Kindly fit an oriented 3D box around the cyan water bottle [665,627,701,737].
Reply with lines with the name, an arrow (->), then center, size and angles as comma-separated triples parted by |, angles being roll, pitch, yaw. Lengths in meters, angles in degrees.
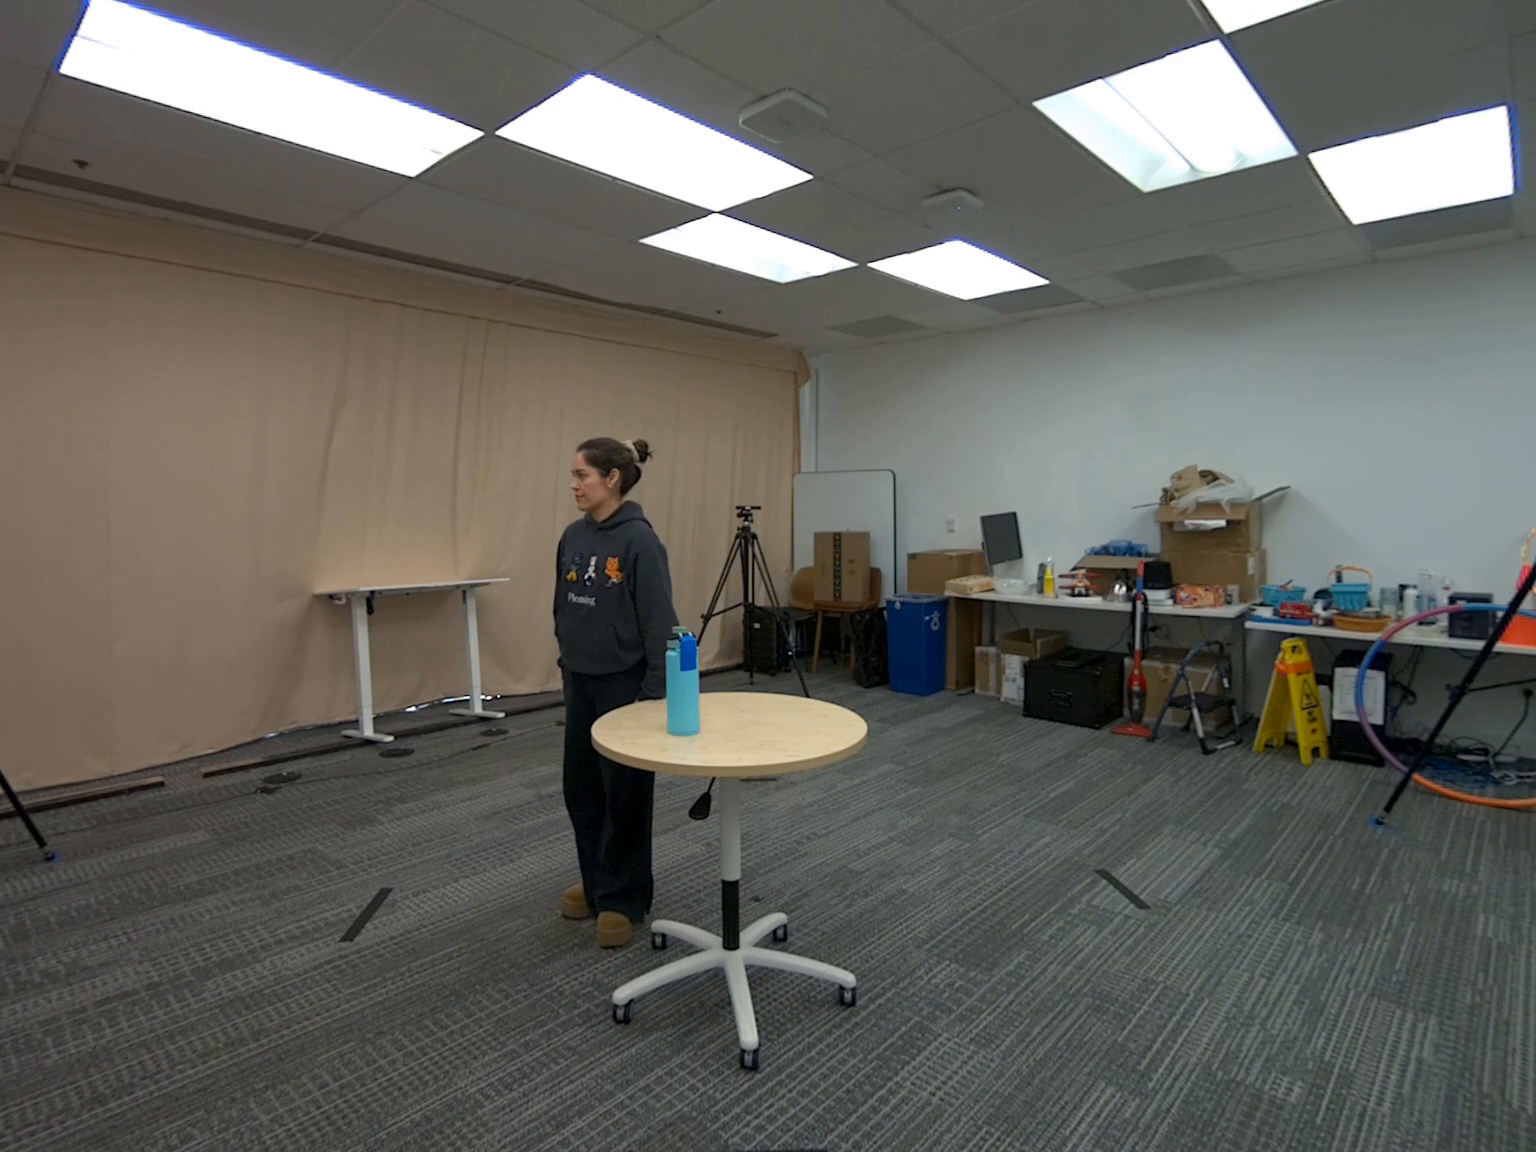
cyan water bottle -> -0.217, 0.285, 2.266 | 0.092, 0.282, 0.093 | -2, 4, -2
